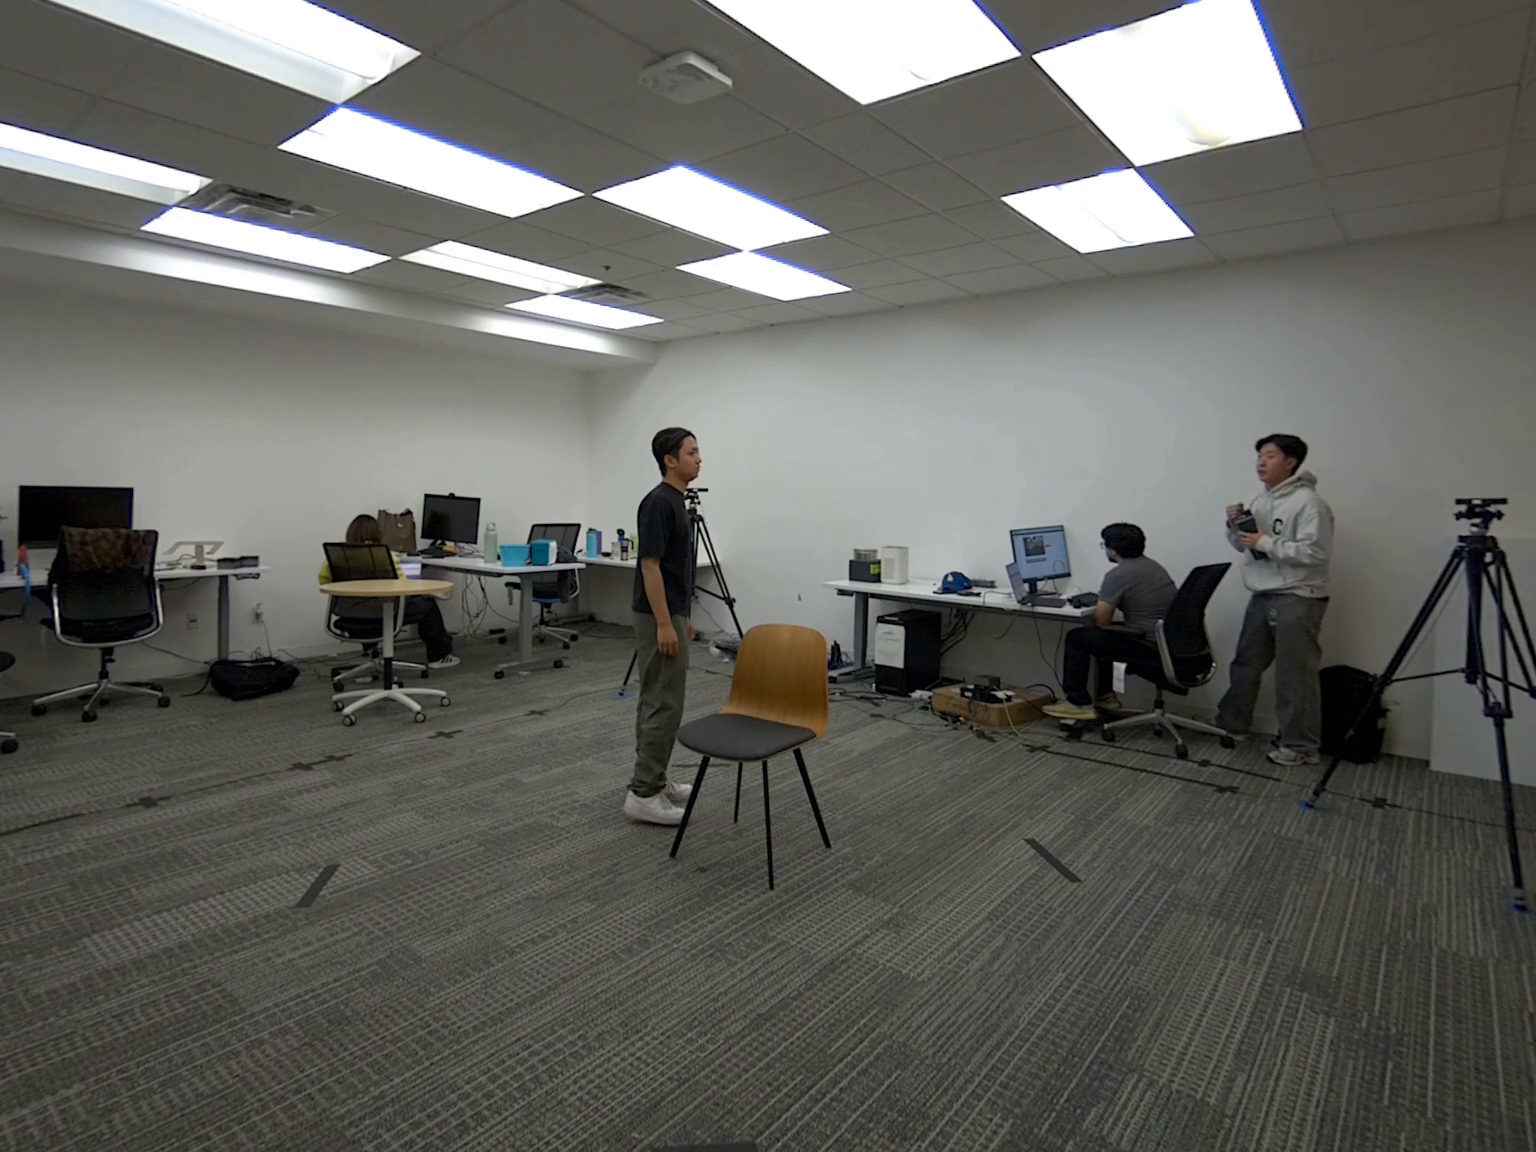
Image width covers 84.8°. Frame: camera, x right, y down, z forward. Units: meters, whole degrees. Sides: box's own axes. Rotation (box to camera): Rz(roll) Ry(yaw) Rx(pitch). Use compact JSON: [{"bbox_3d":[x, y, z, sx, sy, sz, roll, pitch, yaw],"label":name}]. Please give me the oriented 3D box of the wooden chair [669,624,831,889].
[{"bbox_3d":[-0.062,0.632,3.231,0.493,0.878,0.507,4,0,32],"label":"wooden chair"}]
